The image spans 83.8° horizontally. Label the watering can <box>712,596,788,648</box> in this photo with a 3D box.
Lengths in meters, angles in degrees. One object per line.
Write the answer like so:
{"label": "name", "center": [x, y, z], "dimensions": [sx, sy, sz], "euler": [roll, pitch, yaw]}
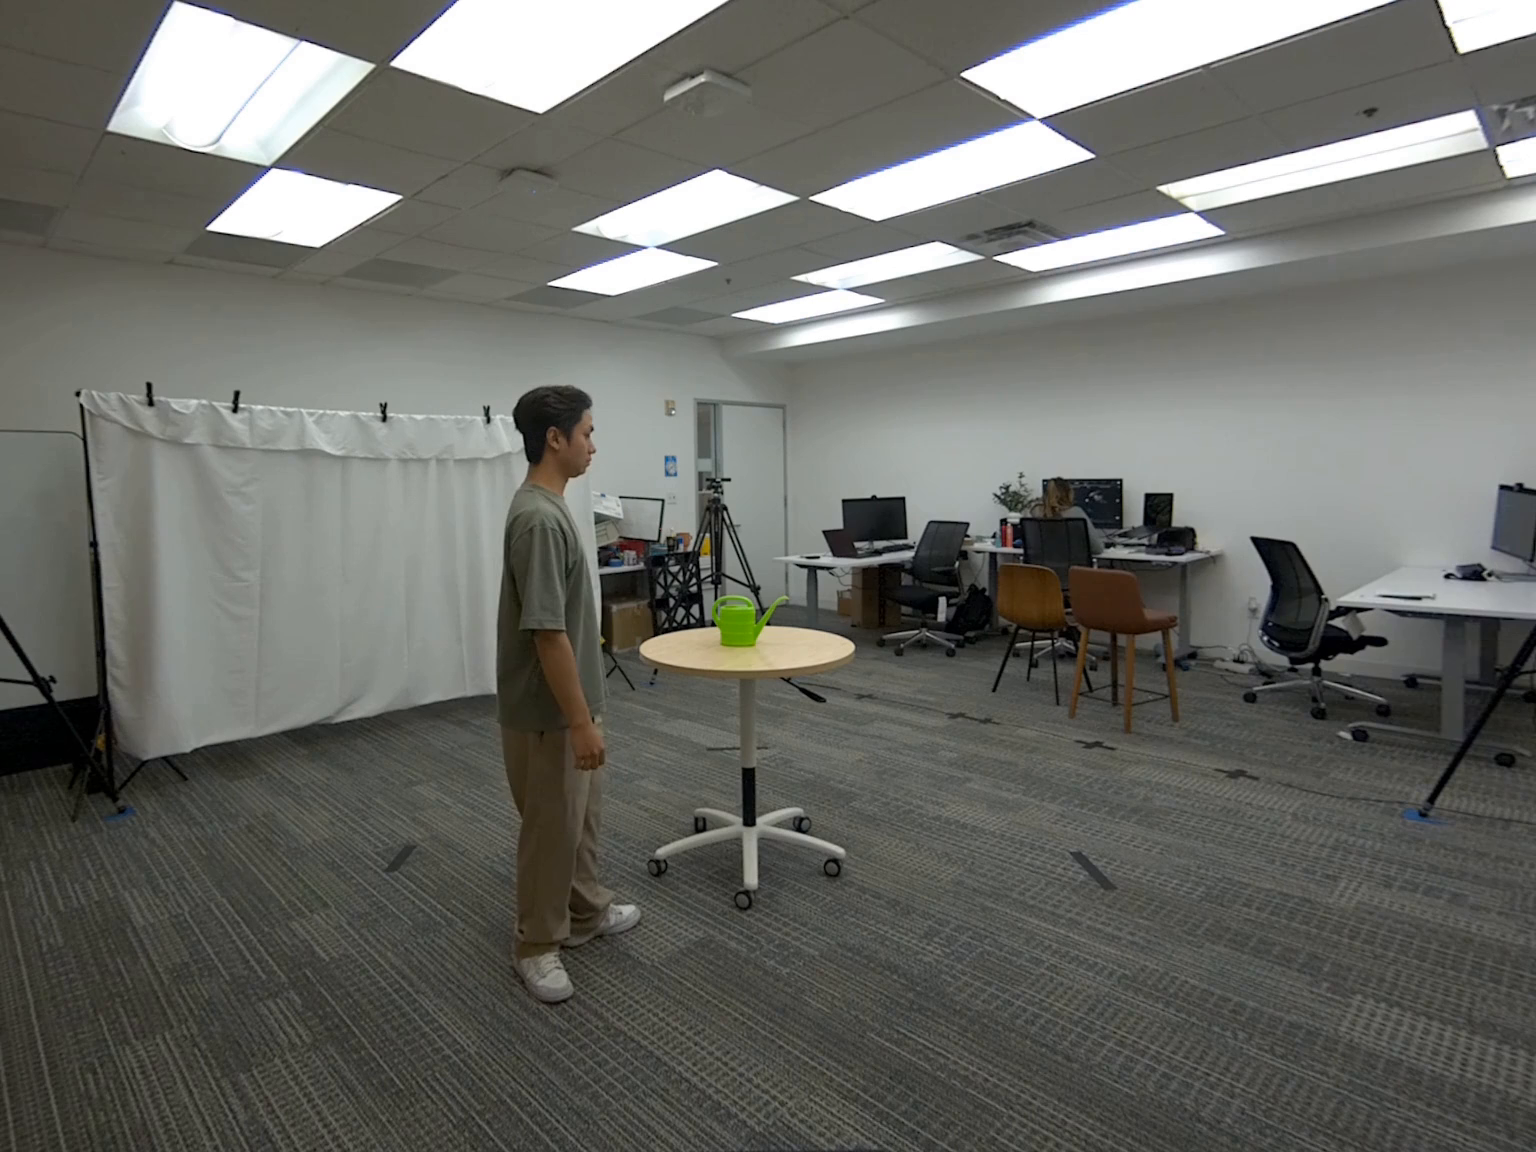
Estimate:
{"label": "watering can", "center": [-0.067, 0.164, 3.051], "dimensions": [0.286, 0.176, 0.096], "euler": [1, 4, 32]}
